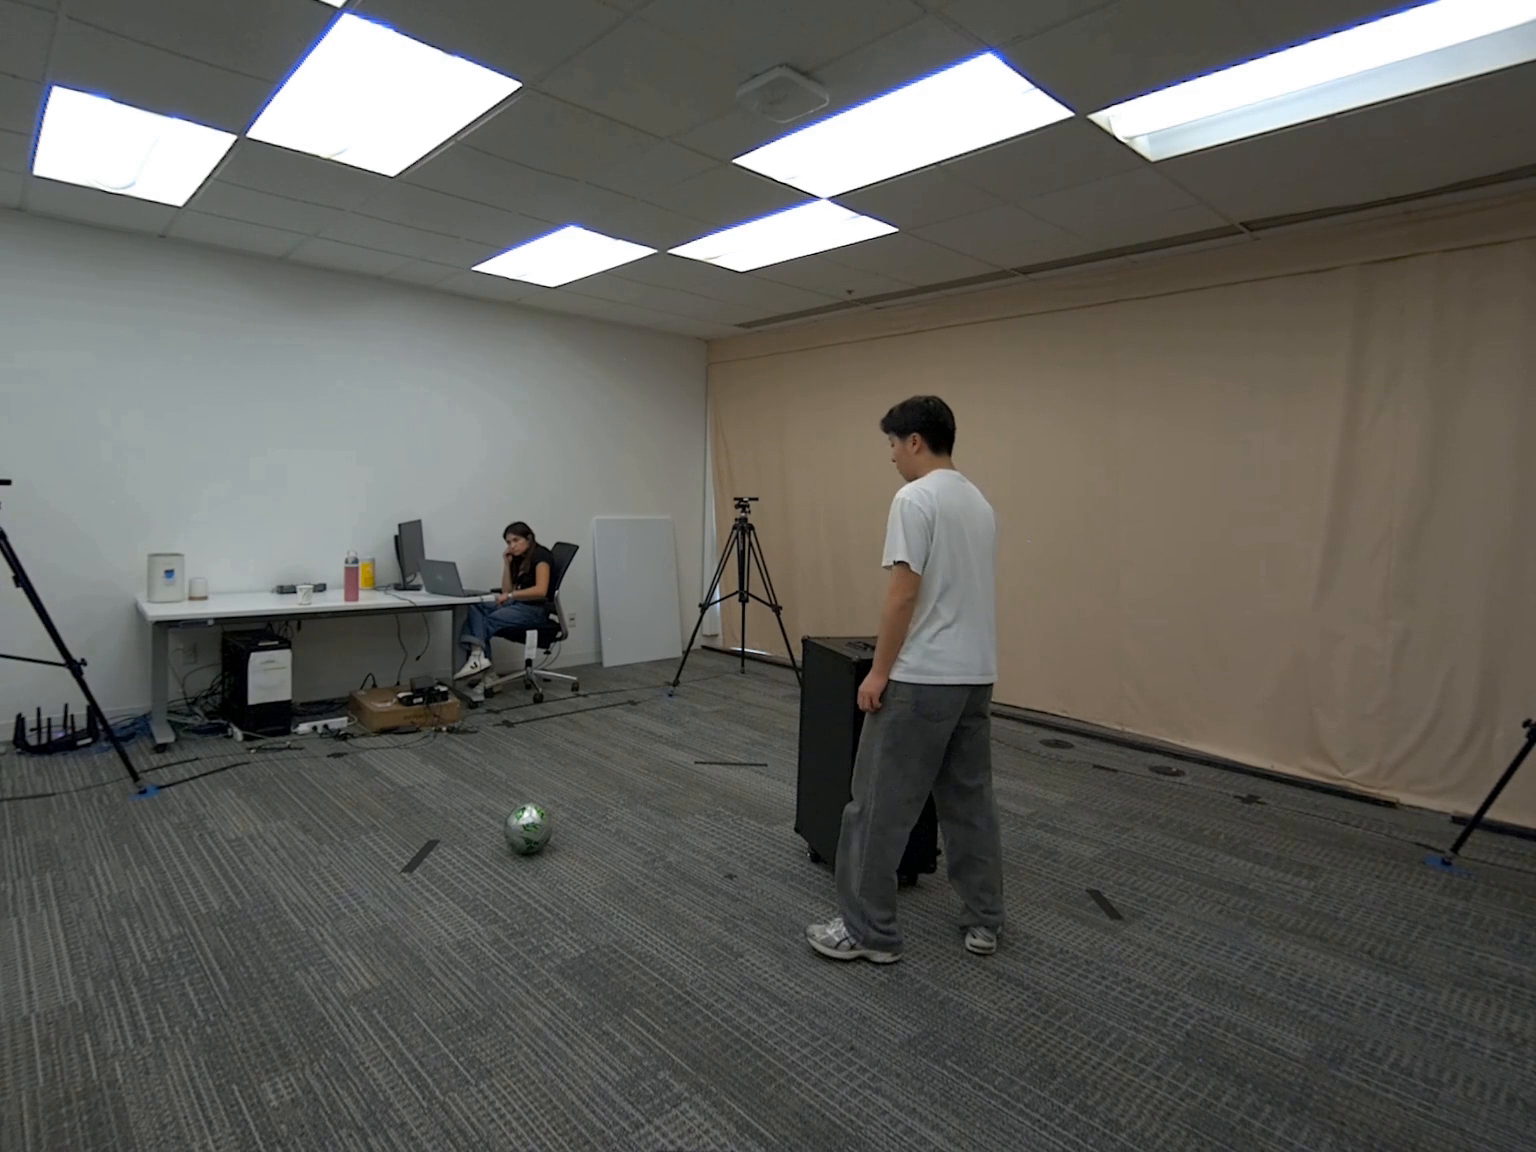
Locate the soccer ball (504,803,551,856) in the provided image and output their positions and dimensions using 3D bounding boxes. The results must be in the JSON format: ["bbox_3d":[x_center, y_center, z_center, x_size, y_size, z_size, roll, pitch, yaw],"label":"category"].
[{"bbox_3d":[-0.934,0.978,3.273,0.187,0.187,0.188,1,4,-1],"label":"soccer ball"}]
